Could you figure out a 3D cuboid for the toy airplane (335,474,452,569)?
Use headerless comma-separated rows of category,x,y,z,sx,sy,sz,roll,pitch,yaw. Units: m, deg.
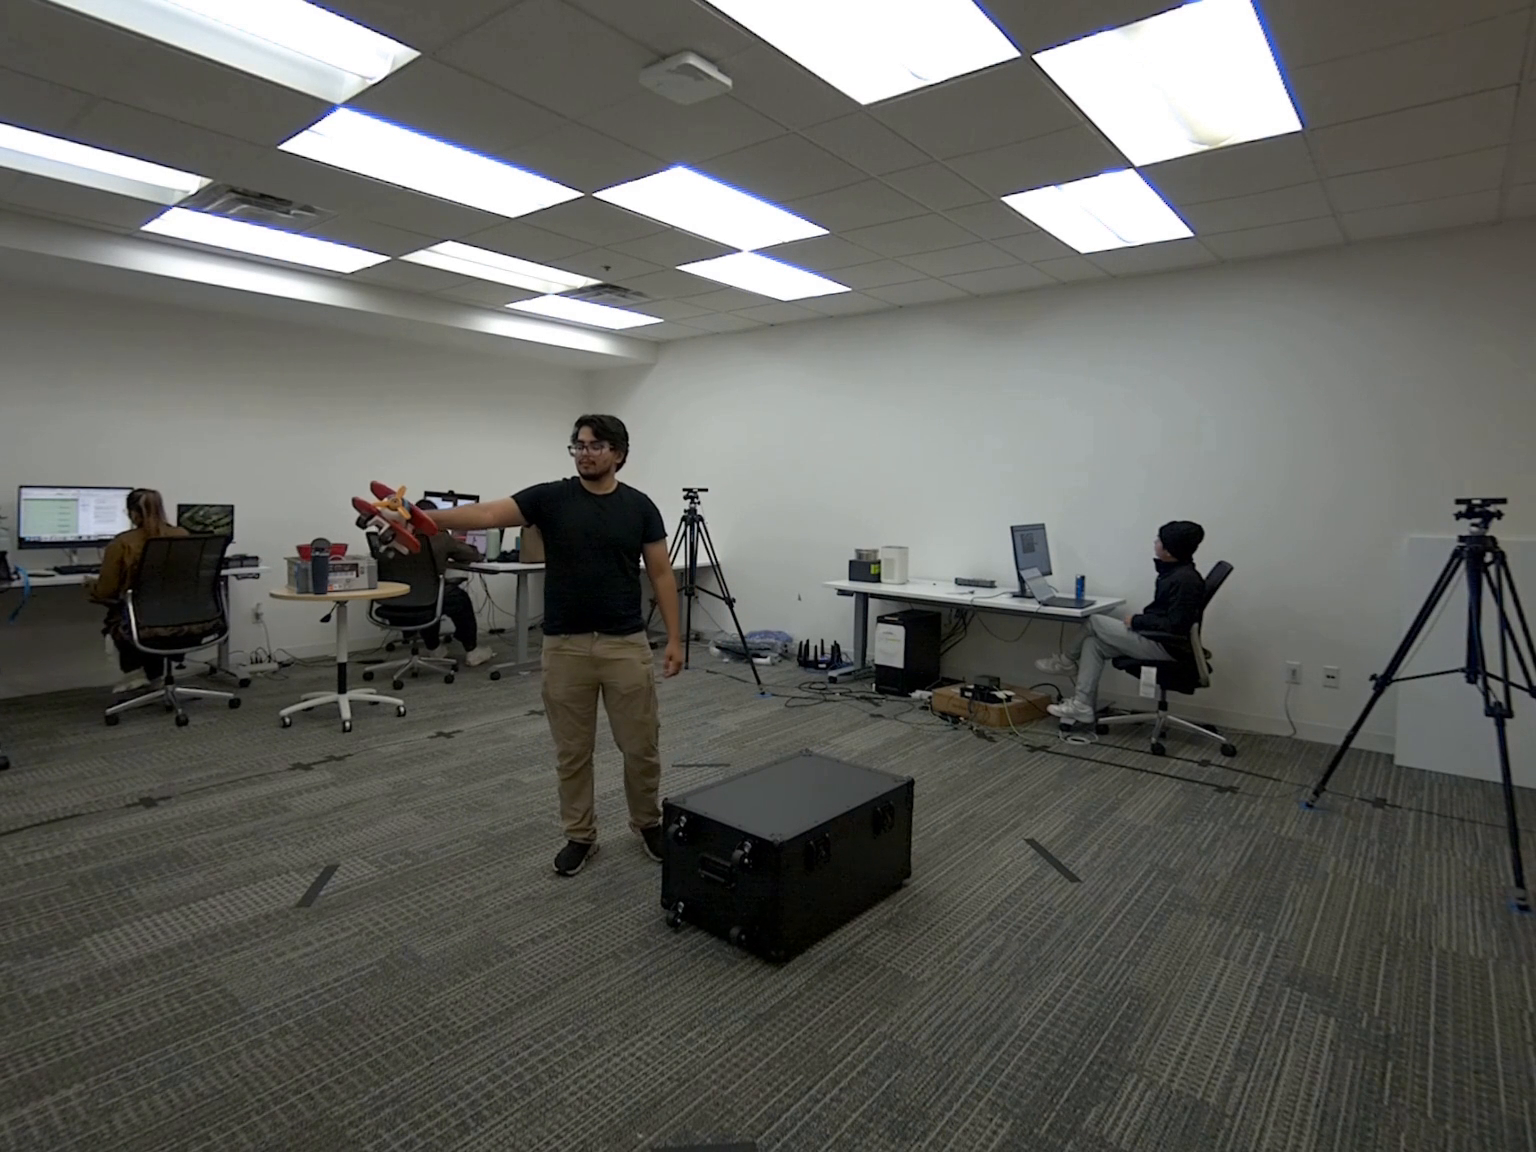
toy airplane,-1.181,-0.169,2.640,0.243,0.157,0.267,48,-25,-26
